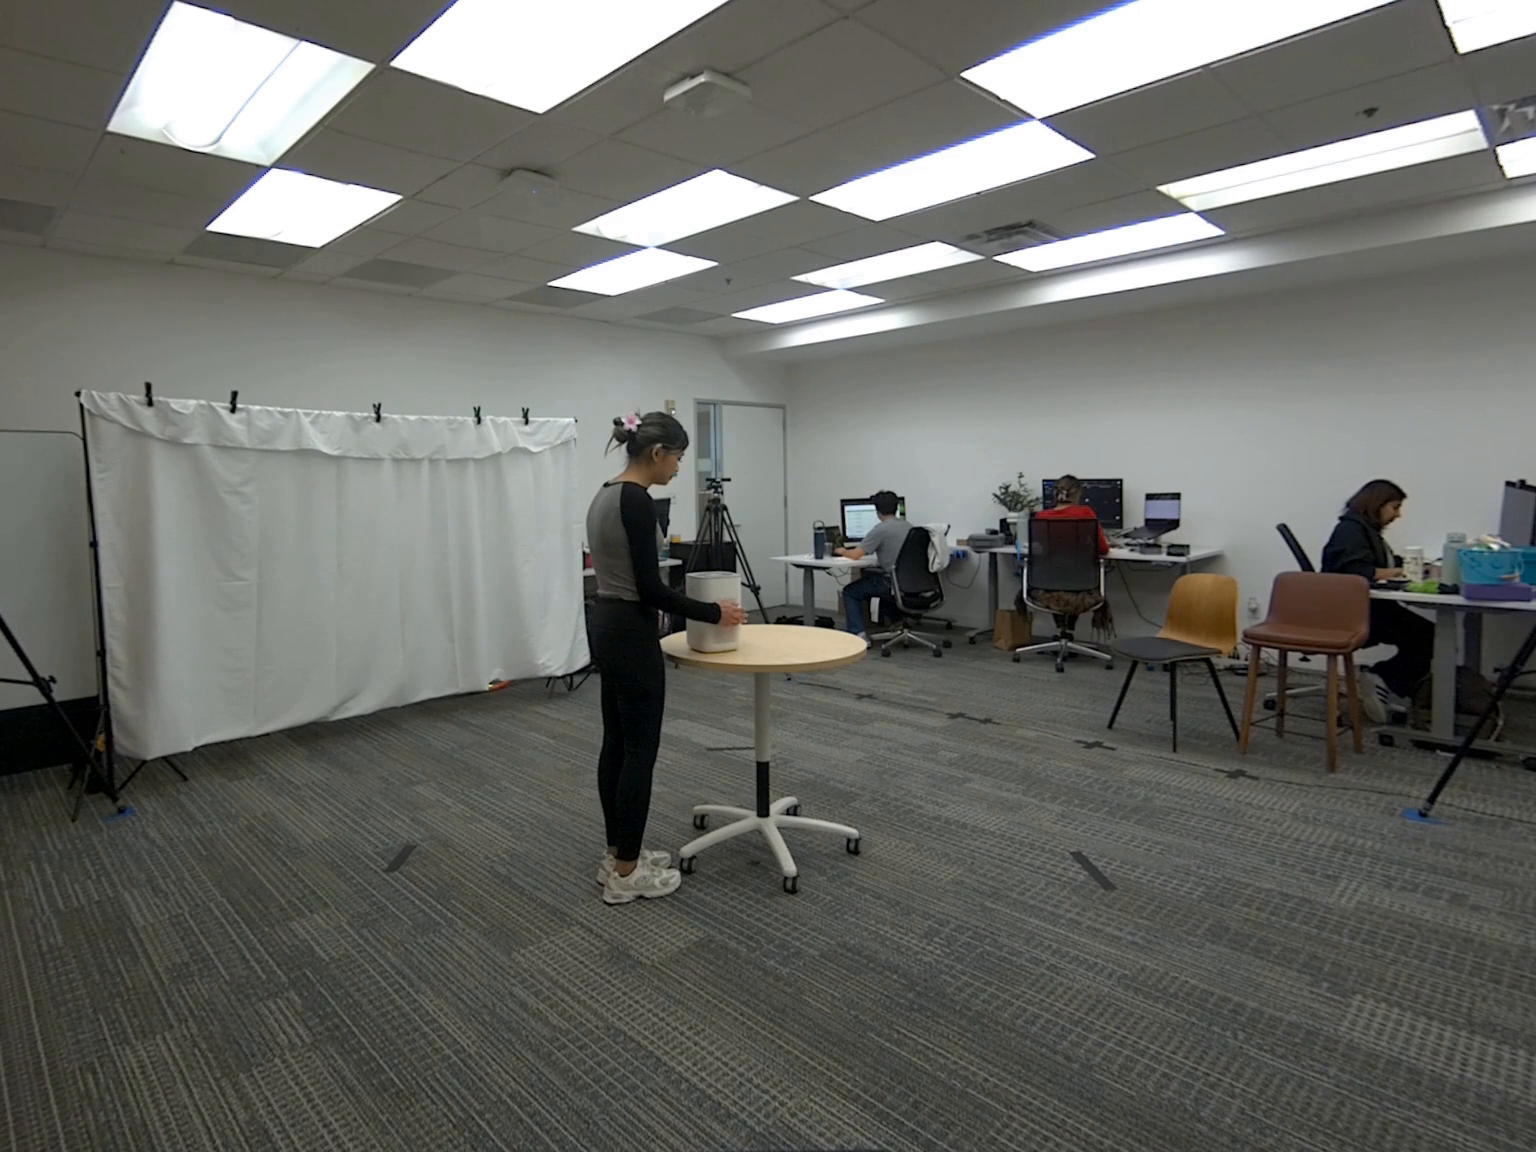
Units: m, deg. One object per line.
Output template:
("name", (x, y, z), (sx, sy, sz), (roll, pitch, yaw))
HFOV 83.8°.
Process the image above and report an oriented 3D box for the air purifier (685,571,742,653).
("air purifier", (-0.193, 0.125, 3.017), (0.167, 0.264, 0.176), (-2, 5, -27))
